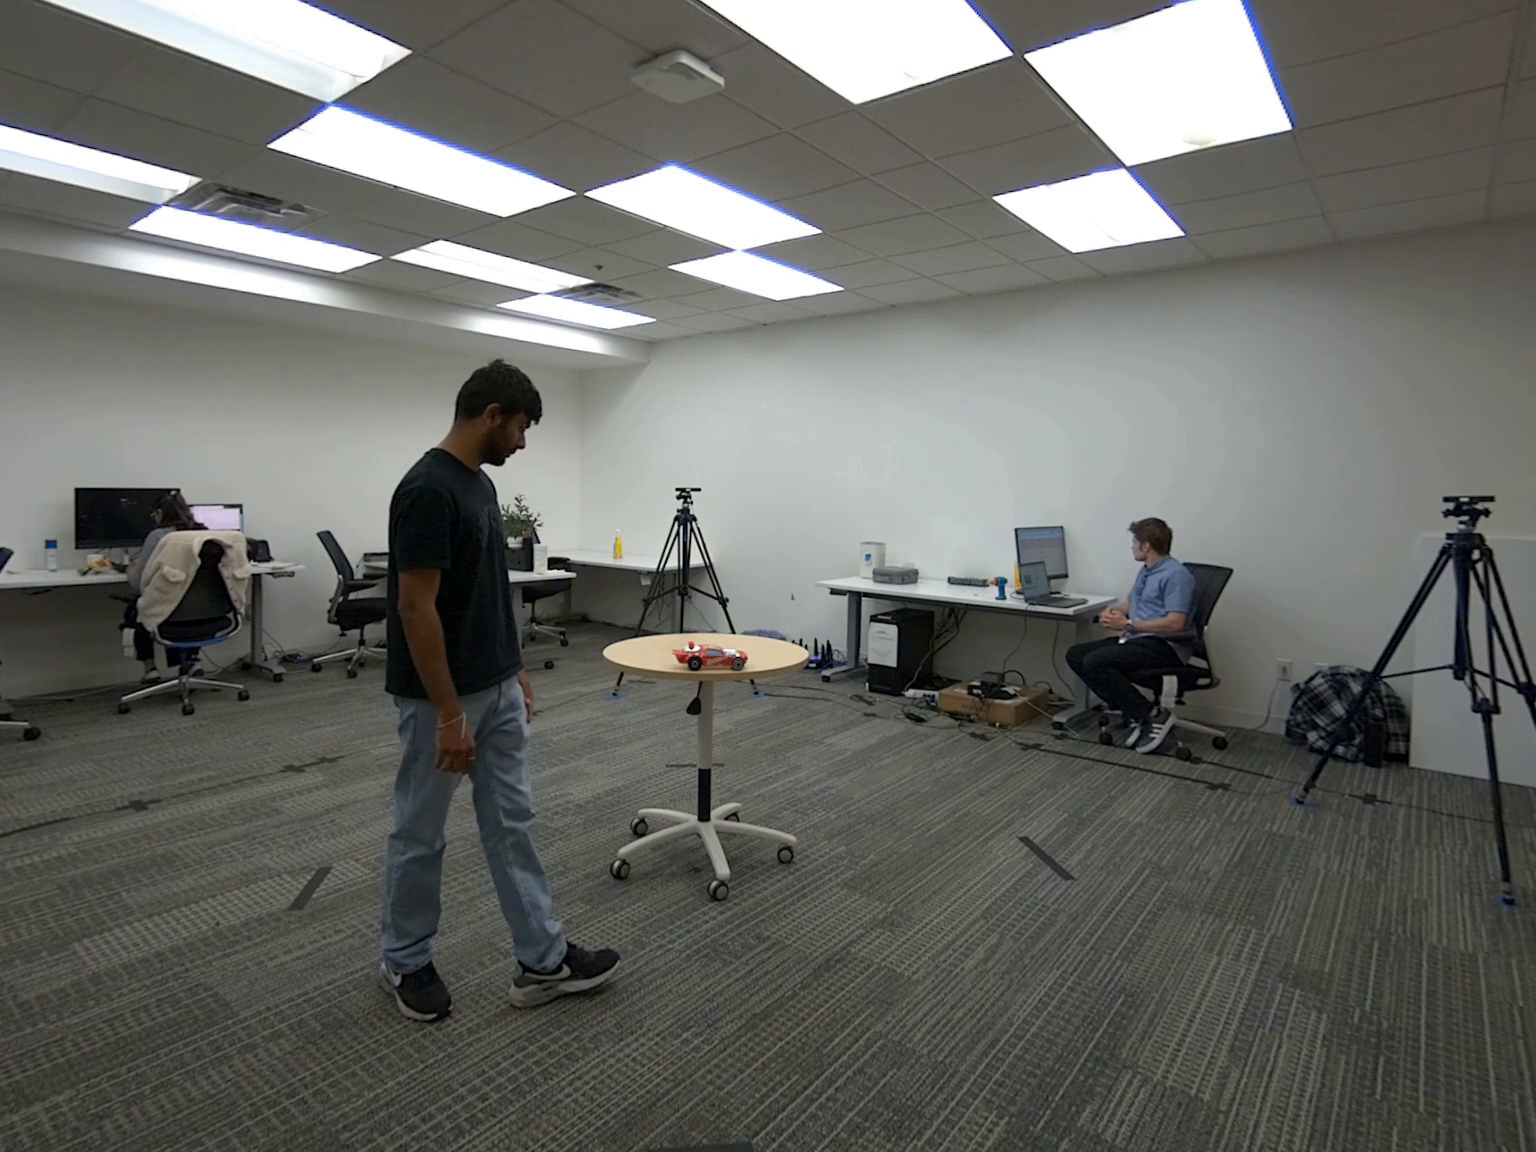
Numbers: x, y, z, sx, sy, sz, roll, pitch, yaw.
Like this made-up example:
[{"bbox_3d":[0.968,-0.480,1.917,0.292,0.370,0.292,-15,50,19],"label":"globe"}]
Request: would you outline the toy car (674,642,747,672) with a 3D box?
[{"bbox_3d":[-0.209,0.278,2.886,0.253,0.083,0.131,12,3,-5],"label":"toy car"}]
